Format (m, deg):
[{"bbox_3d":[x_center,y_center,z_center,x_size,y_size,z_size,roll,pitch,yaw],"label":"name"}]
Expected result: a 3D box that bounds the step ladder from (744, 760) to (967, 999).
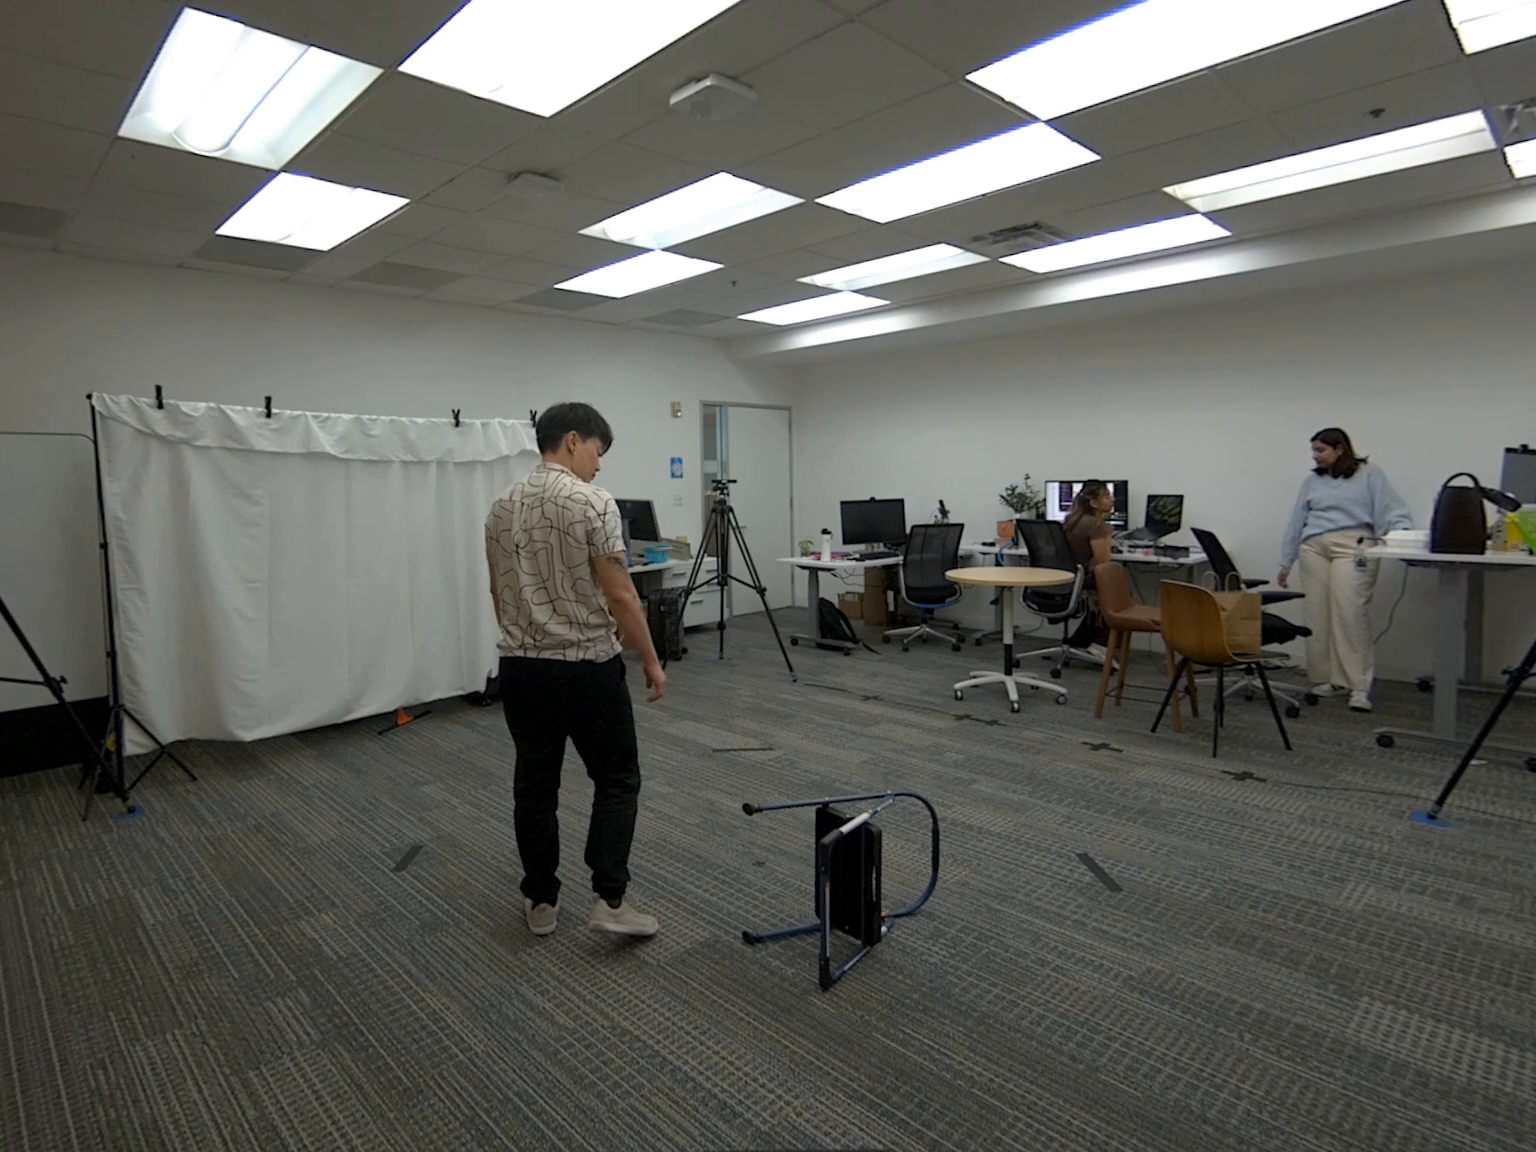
[{"bbox_3d":[0.272,0.887,2.625,0.590,0.429,0.360,-5,7,-39],"label":"step ladder"}]
